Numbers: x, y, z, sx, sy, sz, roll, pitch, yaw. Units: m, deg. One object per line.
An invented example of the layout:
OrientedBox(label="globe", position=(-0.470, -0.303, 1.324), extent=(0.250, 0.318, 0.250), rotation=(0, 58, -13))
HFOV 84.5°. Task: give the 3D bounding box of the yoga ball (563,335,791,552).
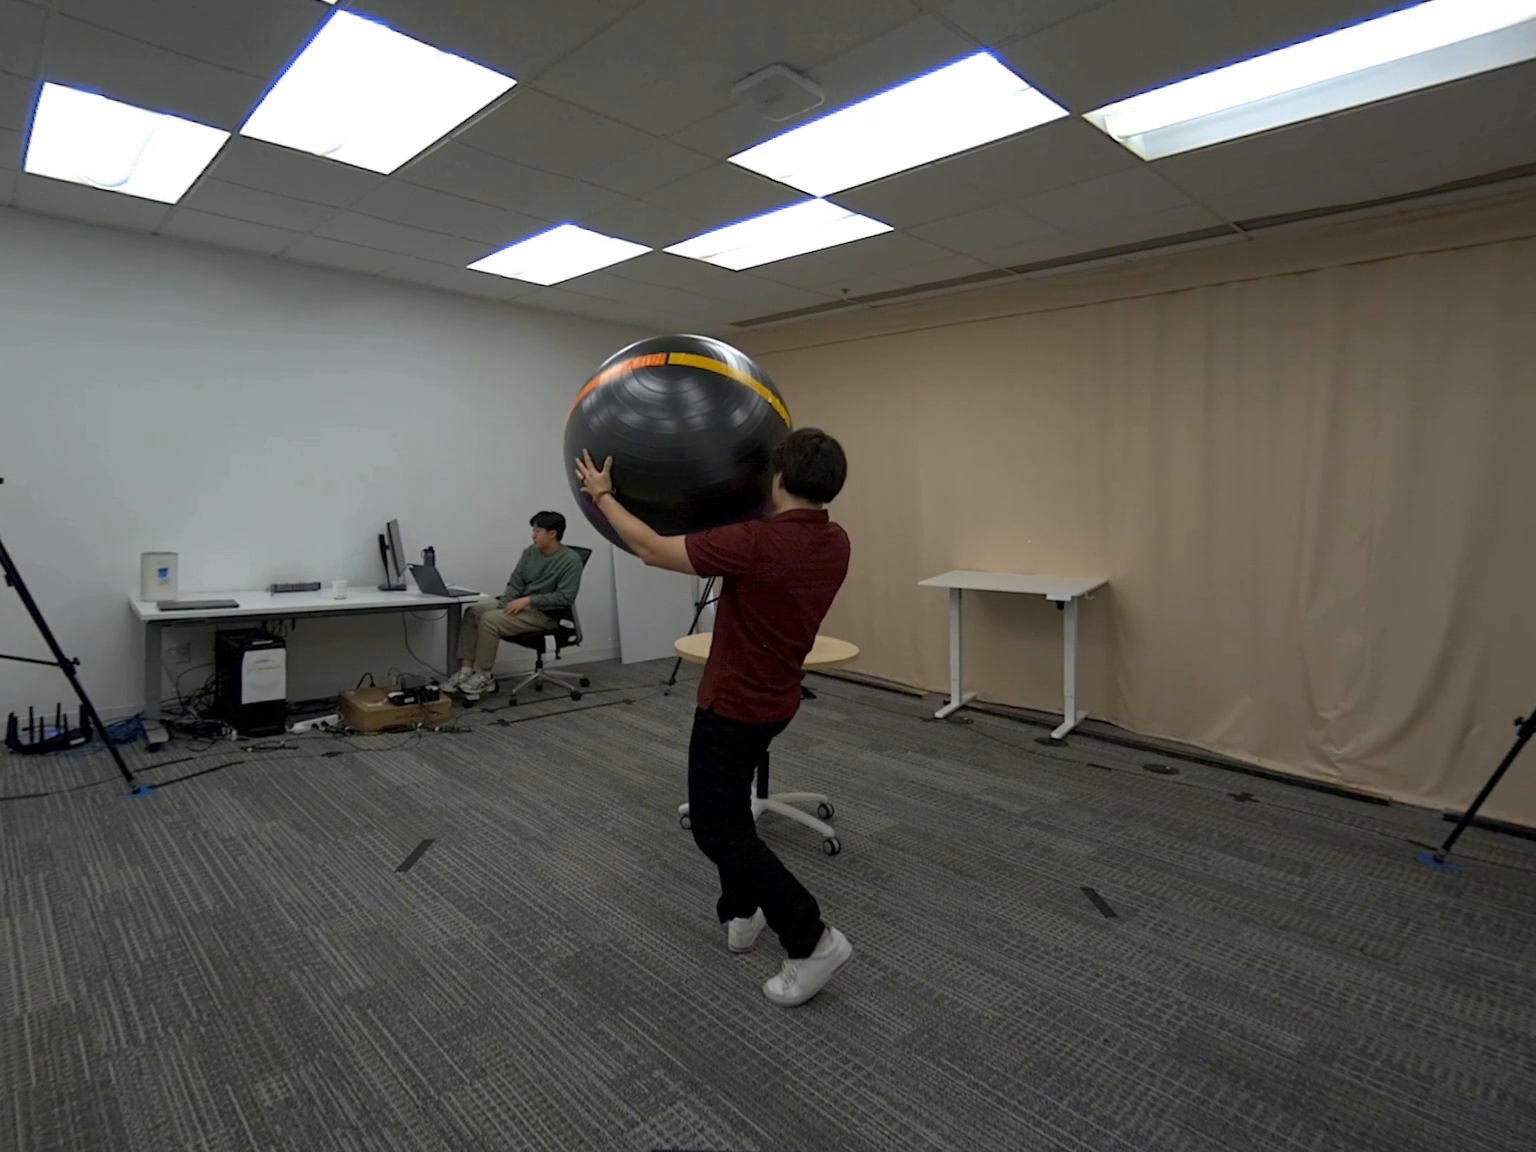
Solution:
OrientedBox(label="yoga ball", position=(-0.298, -0.401, 2.785), extent=(0.757, 0.756, 0.761), rotation=(1, 4, -1))
